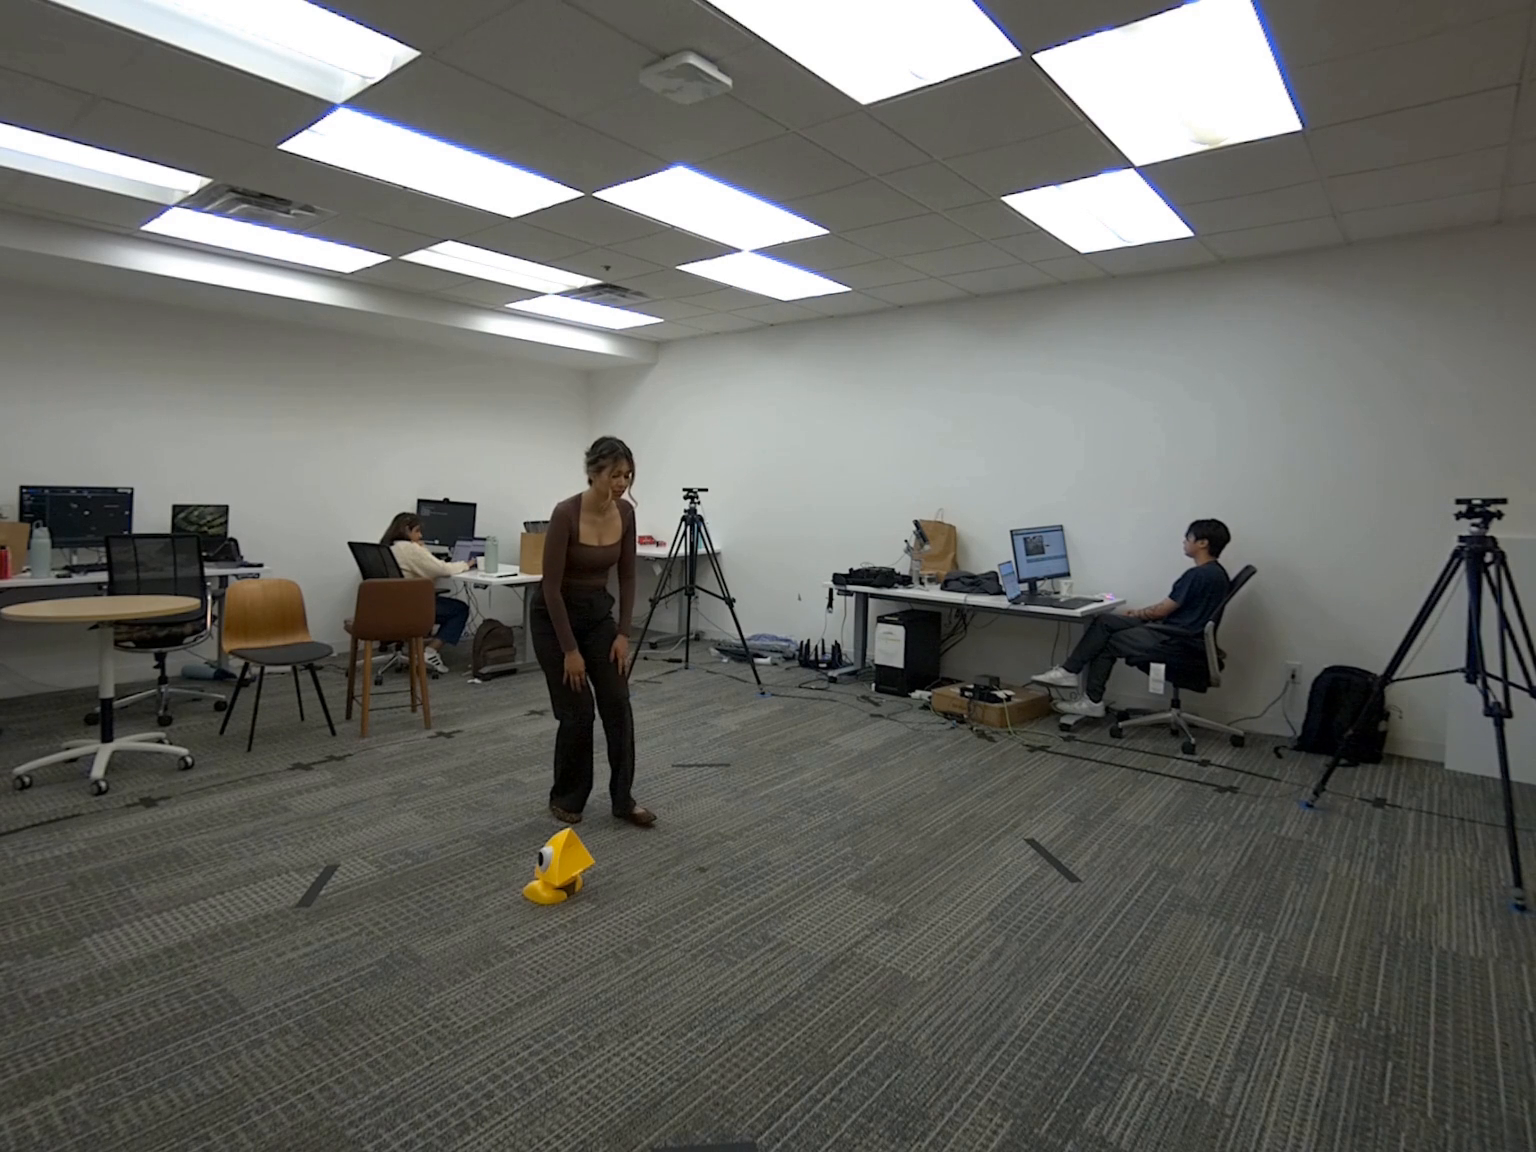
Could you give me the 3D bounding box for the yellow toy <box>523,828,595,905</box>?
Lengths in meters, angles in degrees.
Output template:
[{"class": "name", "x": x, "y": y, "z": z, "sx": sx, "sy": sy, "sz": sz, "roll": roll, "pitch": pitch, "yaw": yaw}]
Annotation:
[{"class": "yellow toy", "x": -0.741, "y": 0.967, "z": 2.922, "sx": 0.198, "sy": 0.230, "sz": 0.200, "roll": 4, "pitch": 5, "yaw": 27}]
